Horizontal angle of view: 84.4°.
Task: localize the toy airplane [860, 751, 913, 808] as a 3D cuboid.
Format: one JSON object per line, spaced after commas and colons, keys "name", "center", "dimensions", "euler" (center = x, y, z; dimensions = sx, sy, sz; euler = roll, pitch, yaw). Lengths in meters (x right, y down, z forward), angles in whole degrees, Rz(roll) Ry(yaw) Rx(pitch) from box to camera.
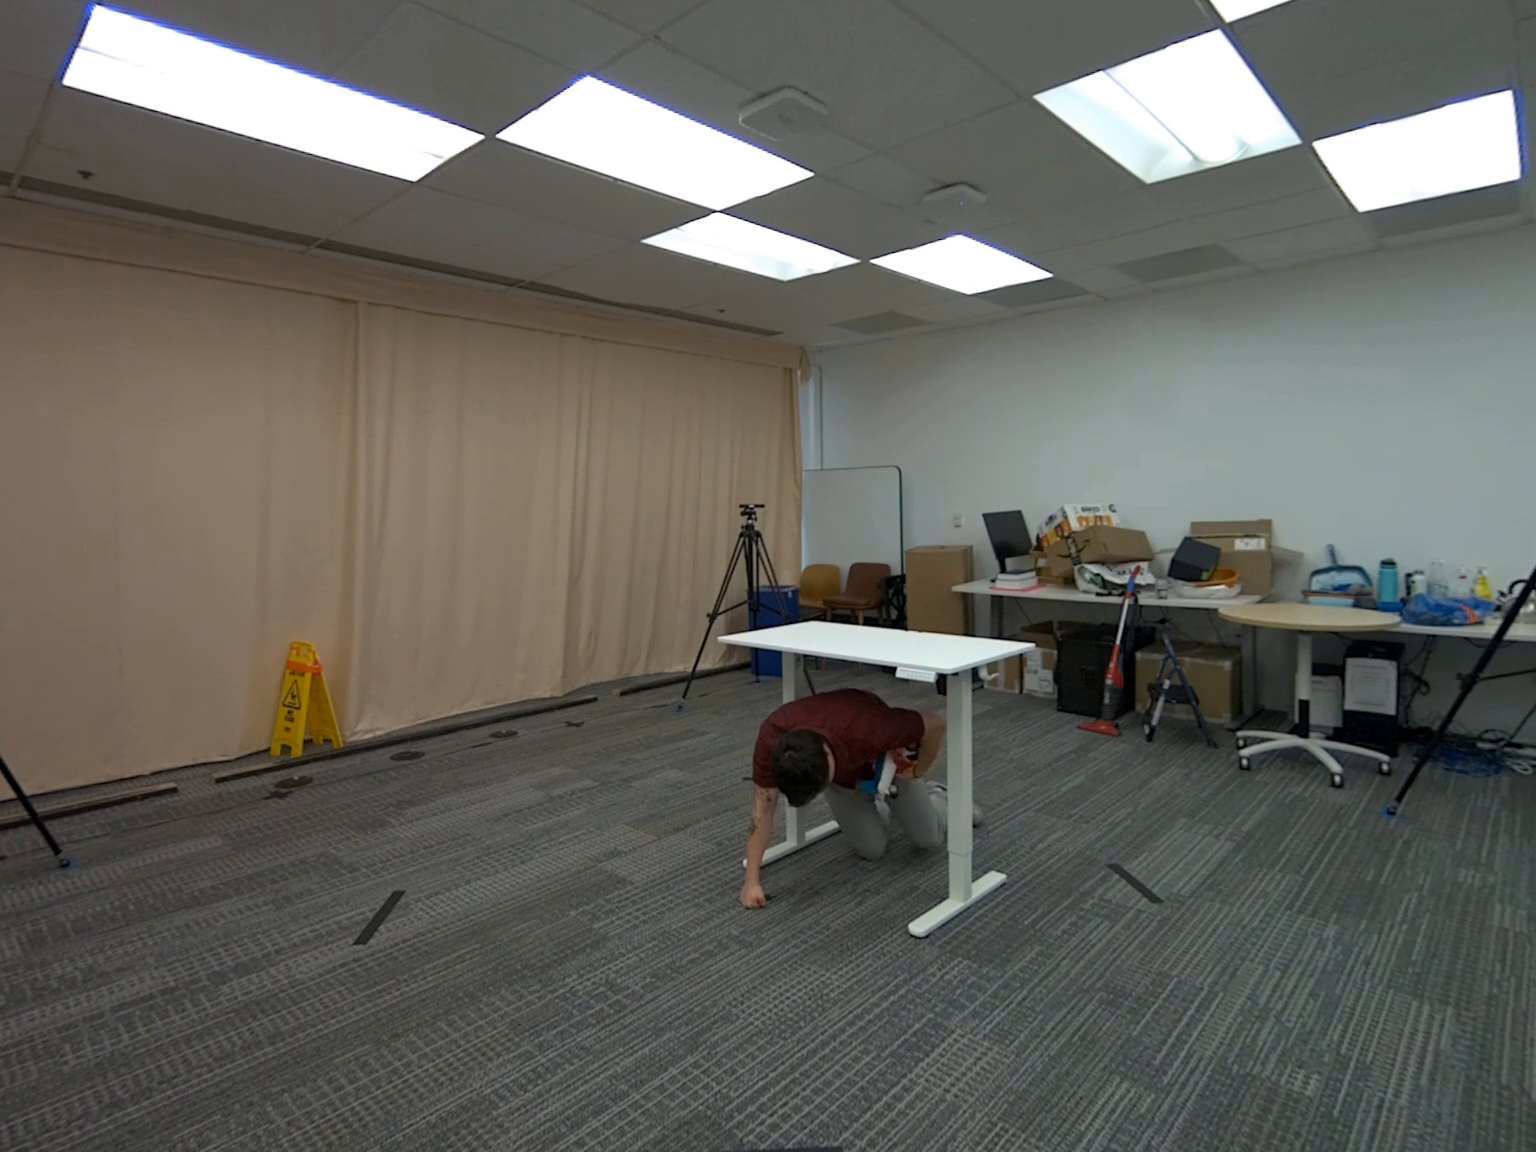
{"name": "toy airplane", "center": [0.444, 0.659, 3.039], "dimensions": [0.161, 0.246, 0.255], "euler": [13, 33, 32]}
